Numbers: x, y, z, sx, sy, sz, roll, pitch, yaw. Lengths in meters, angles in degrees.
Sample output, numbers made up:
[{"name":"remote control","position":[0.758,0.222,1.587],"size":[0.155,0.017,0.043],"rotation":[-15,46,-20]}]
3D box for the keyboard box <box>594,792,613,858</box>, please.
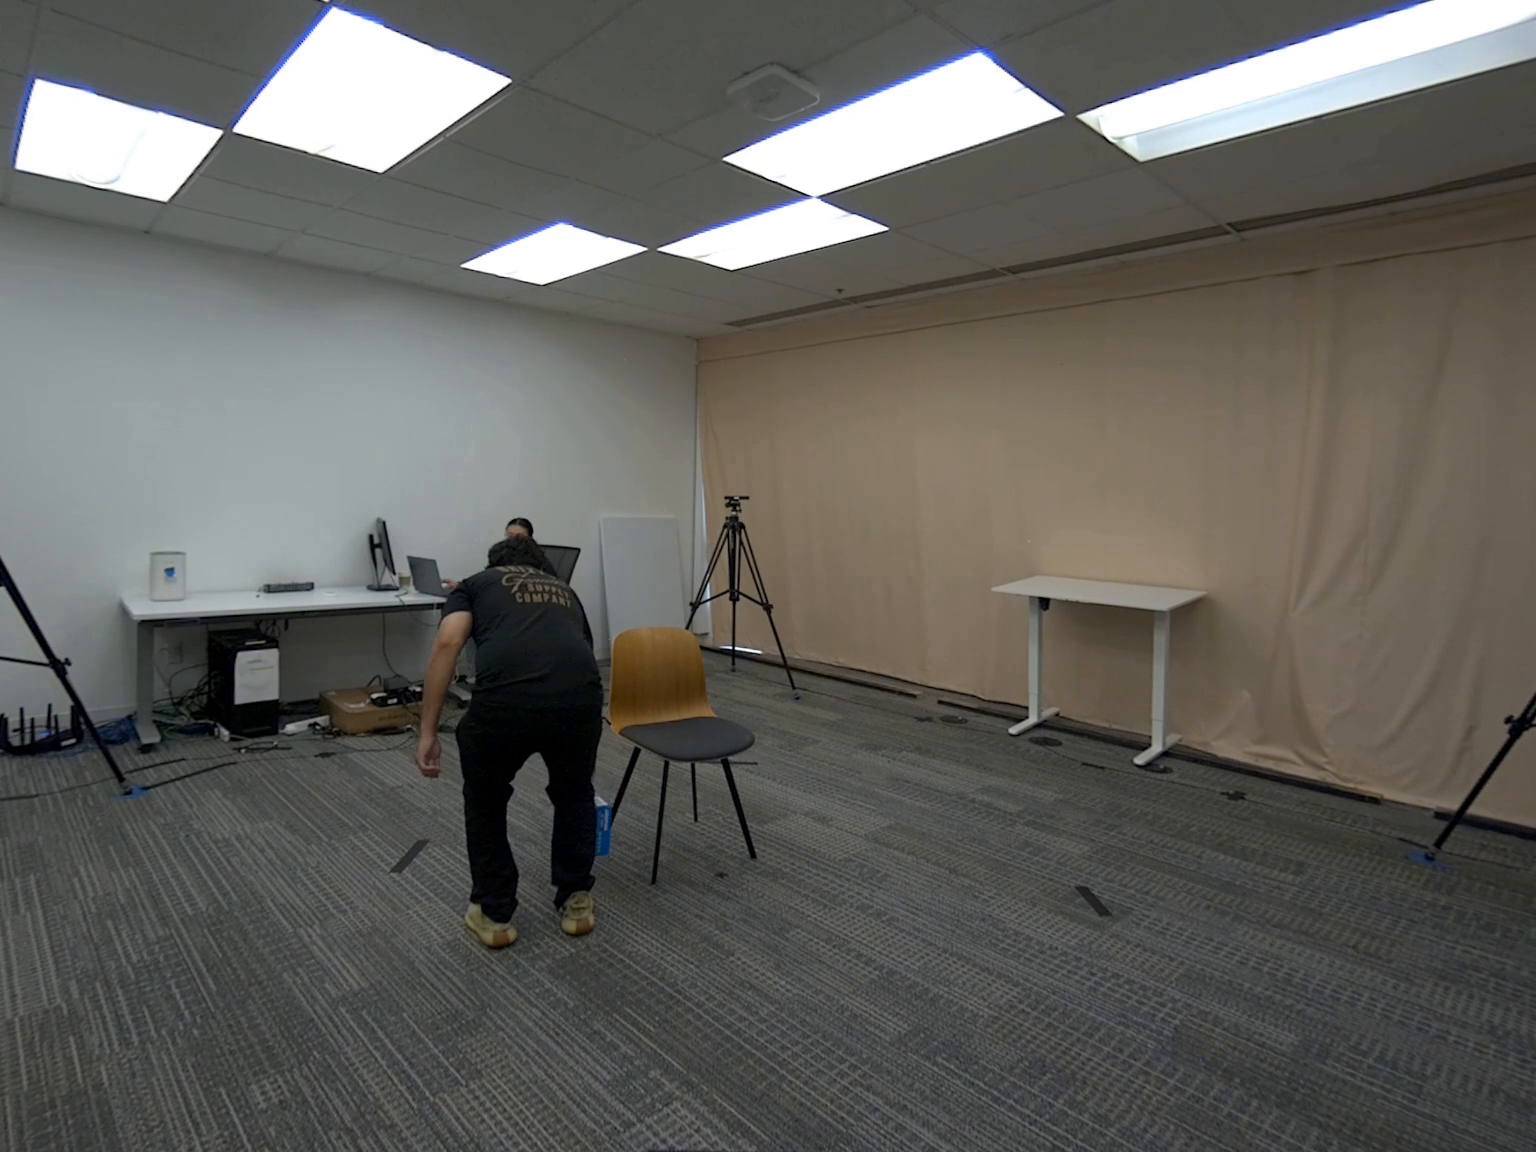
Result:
[{"name":"keyboard box","position":[-0.681,0.865,3.074],"size":[0.058,0.176,0.447],"rotation":[3,3,-31]}]
